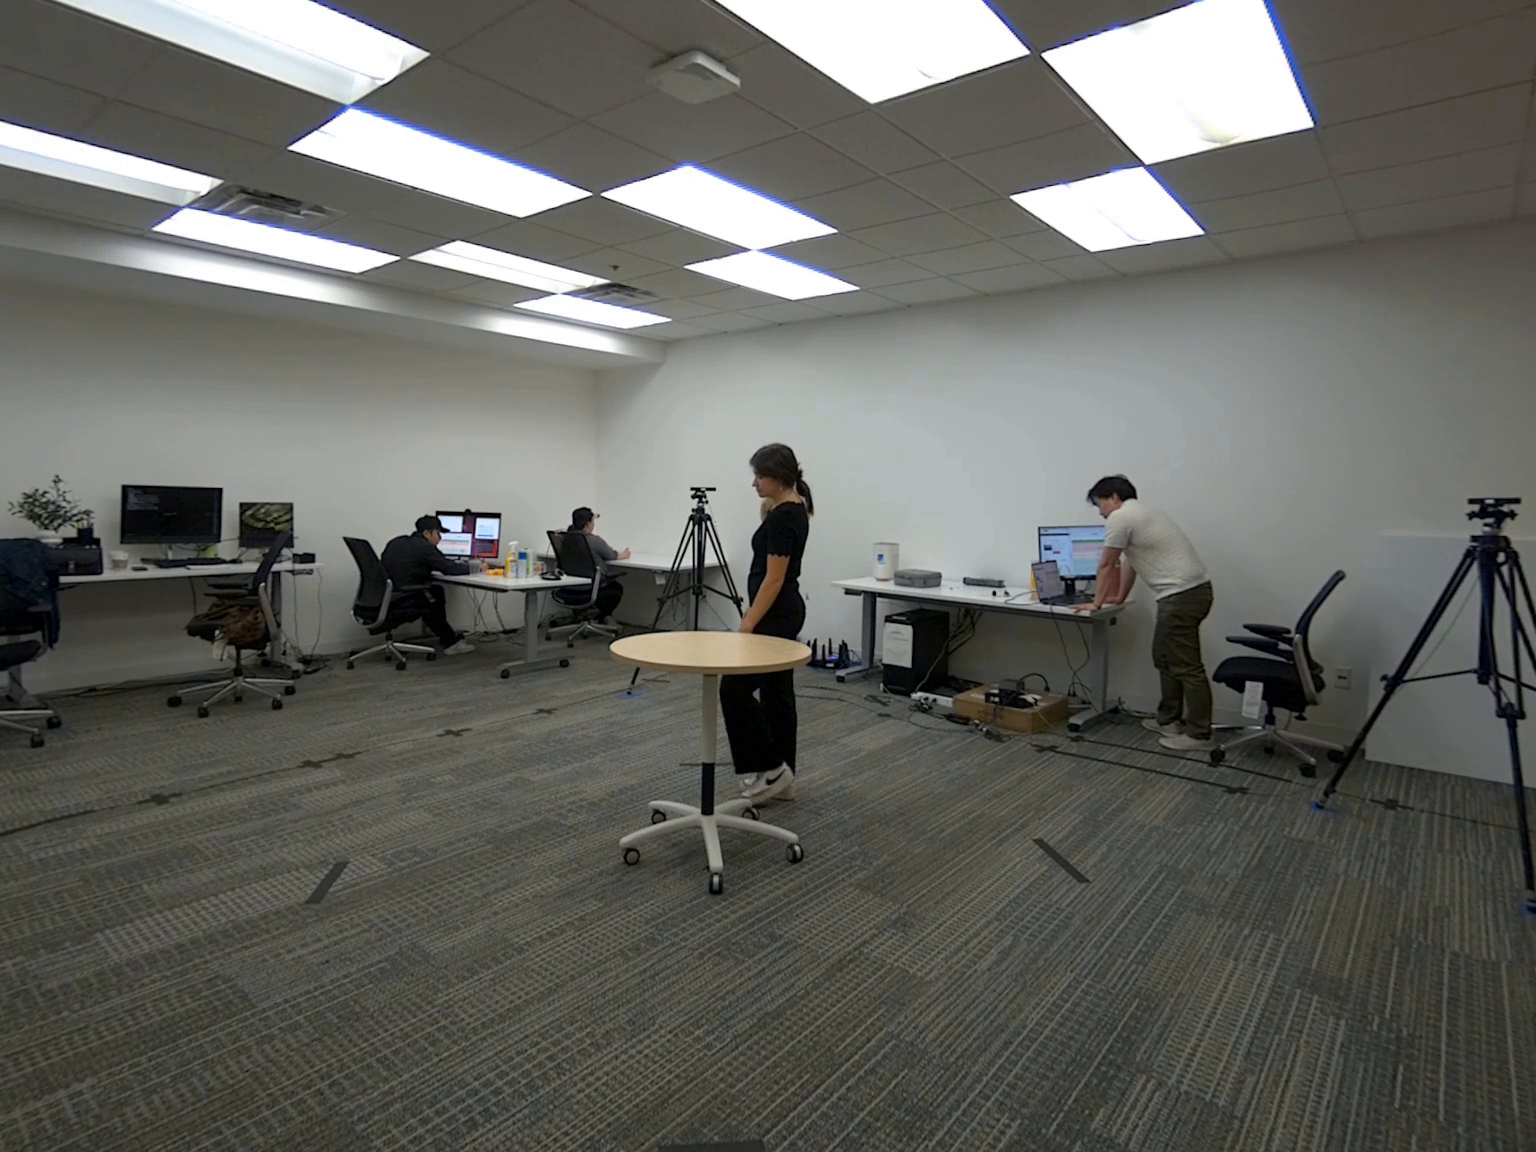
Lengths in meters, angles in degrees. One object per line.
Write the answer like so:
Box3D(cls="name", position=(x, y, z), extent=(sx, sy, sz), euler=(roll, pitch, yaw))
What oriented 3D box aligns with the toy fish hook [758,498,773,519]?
Box3D(cls="toy fish hook", position=(0.082, -0.160, 3.935), extent=(0.227, 0.501, 0.048), euler=(-2, 10, 11))
